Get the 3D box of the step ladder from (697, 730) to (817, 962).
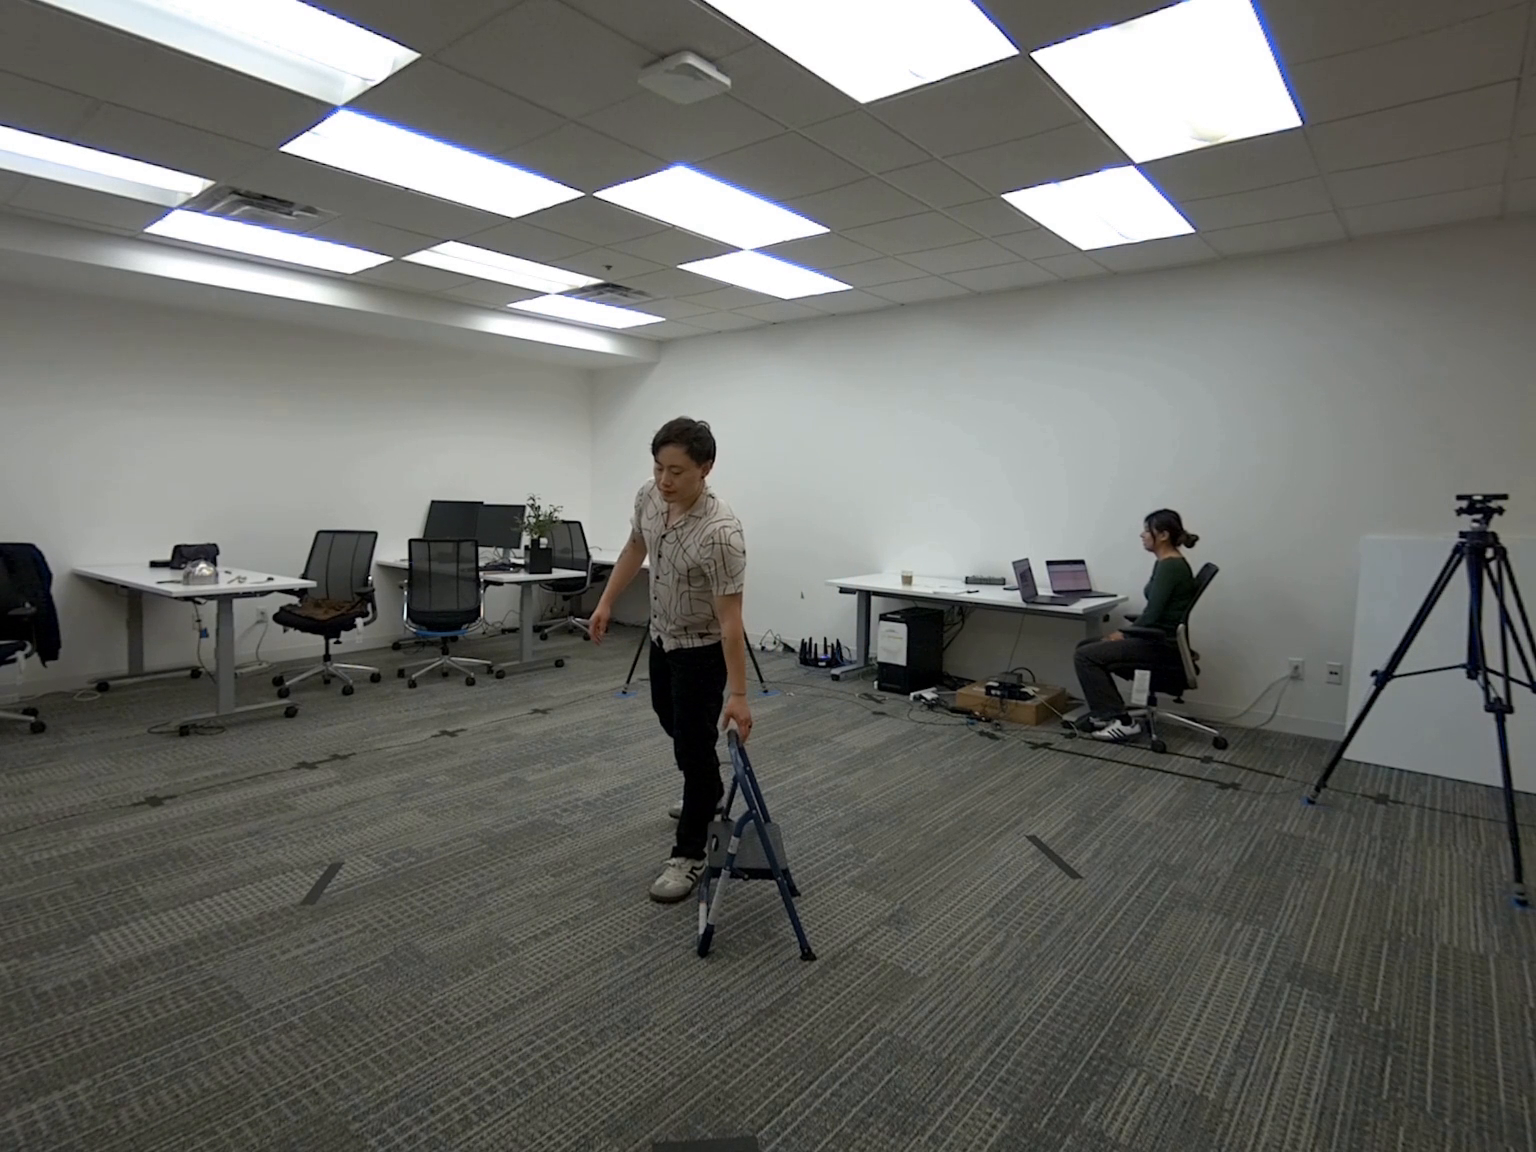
[{"bbox_3d":[-0.051,0.809,2.698,0.348,0.604,0.434,1,4,-4],"label":"step ladder"}]
